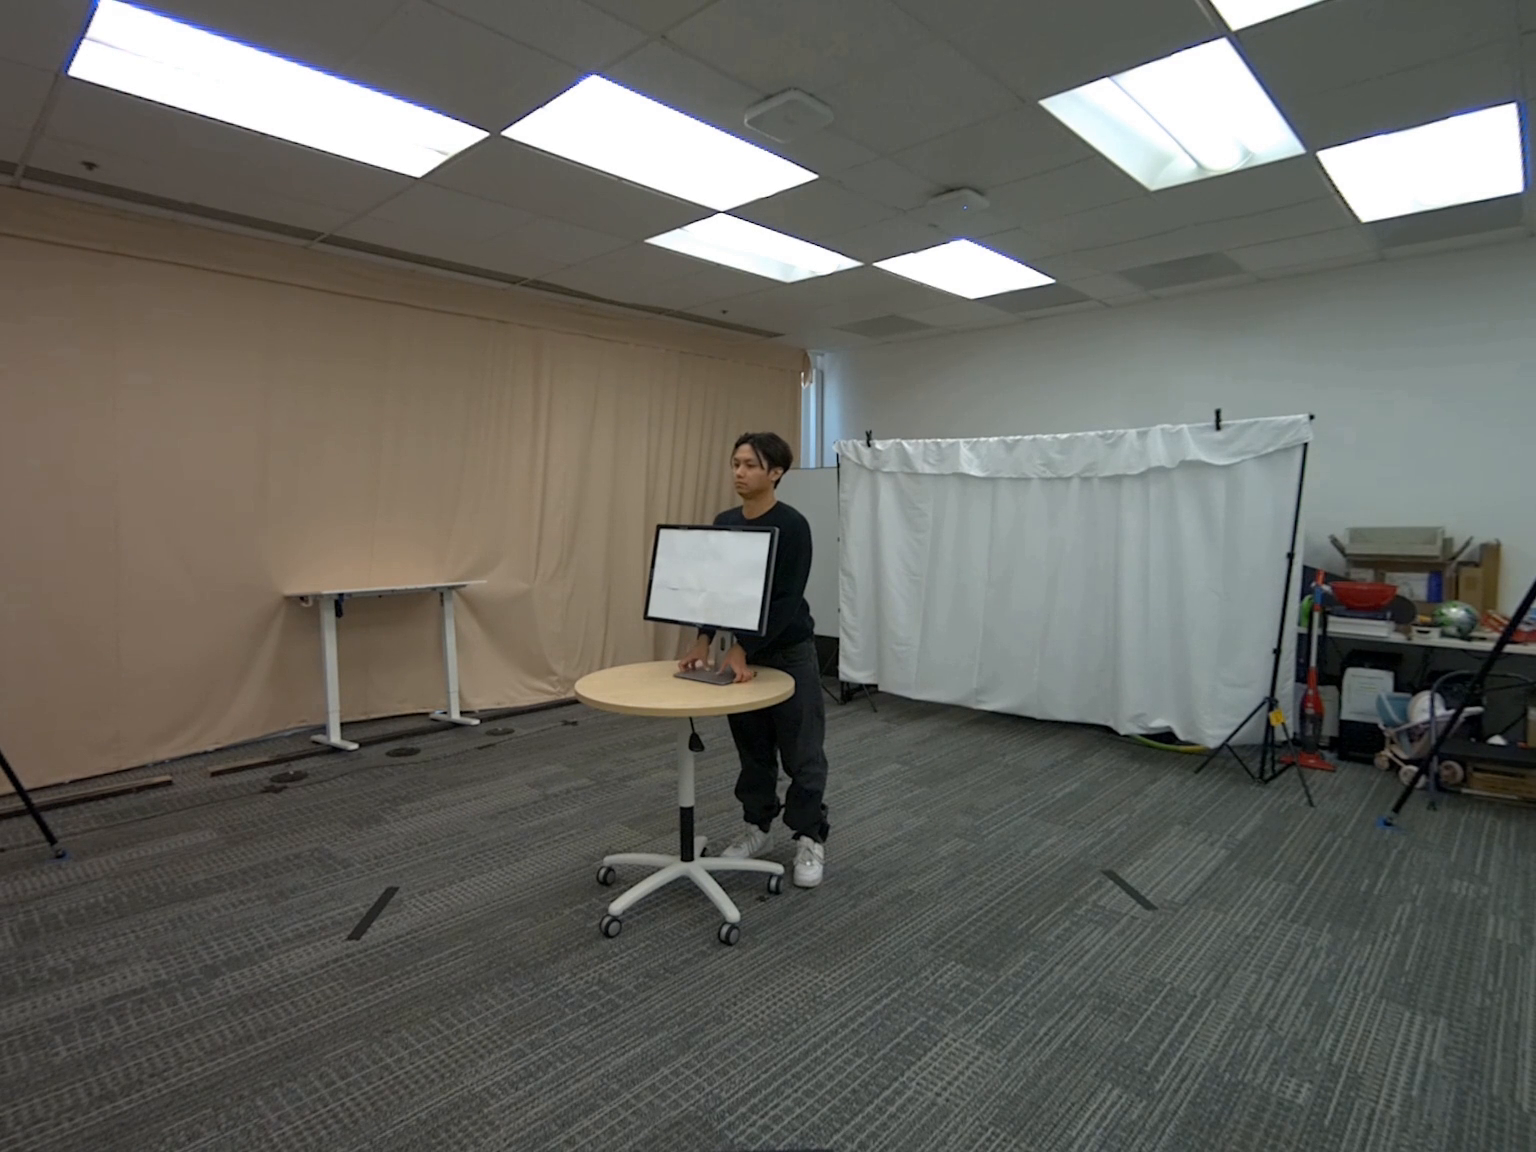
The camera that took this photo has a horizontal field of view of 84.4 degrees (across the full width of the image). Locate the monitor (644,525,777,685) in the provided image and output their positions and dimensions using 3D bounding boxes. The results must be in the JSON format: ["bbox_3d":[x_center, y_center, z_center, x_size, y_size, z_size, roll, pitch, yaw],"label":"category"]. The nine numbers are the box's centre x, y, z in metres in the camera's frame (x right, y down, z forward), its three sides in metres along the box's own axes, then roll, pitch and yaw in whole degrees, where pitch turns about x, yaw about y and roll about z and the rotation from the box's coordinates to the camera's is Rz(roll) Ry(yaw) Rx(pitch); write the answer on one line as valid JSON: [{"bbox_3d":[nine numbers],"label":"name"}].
[{"bbox_3d":[-0.190,0.093,3.008,0.557,0.521,0.181,3,5,39],"label":"monitor"}]
